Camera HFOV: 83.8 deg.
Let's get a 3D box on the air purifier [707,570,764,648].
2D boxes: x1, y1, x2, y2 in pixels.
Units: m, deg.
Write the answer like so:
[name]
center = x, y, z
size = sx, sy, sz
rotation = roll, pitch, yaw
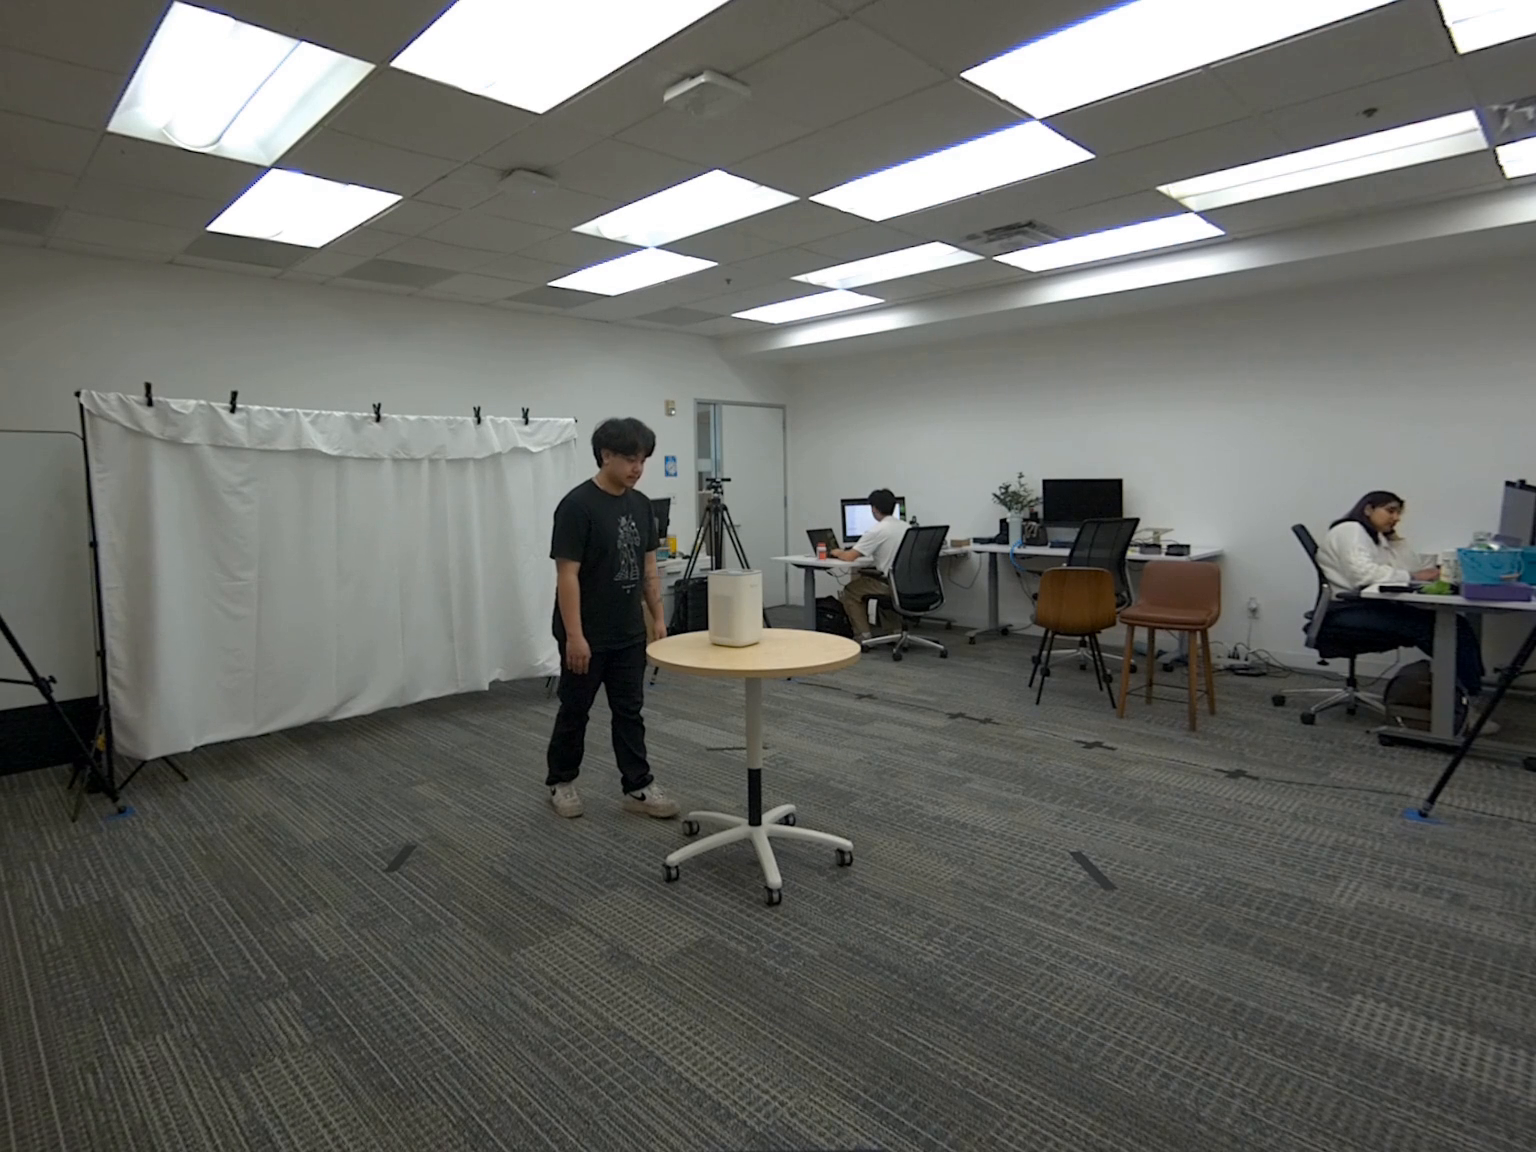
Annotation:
[air purifier]
center = -0.118, 0.112, 3.126
size = 0.176, 0.264, 0.167
rotation = 2, 6, 34
